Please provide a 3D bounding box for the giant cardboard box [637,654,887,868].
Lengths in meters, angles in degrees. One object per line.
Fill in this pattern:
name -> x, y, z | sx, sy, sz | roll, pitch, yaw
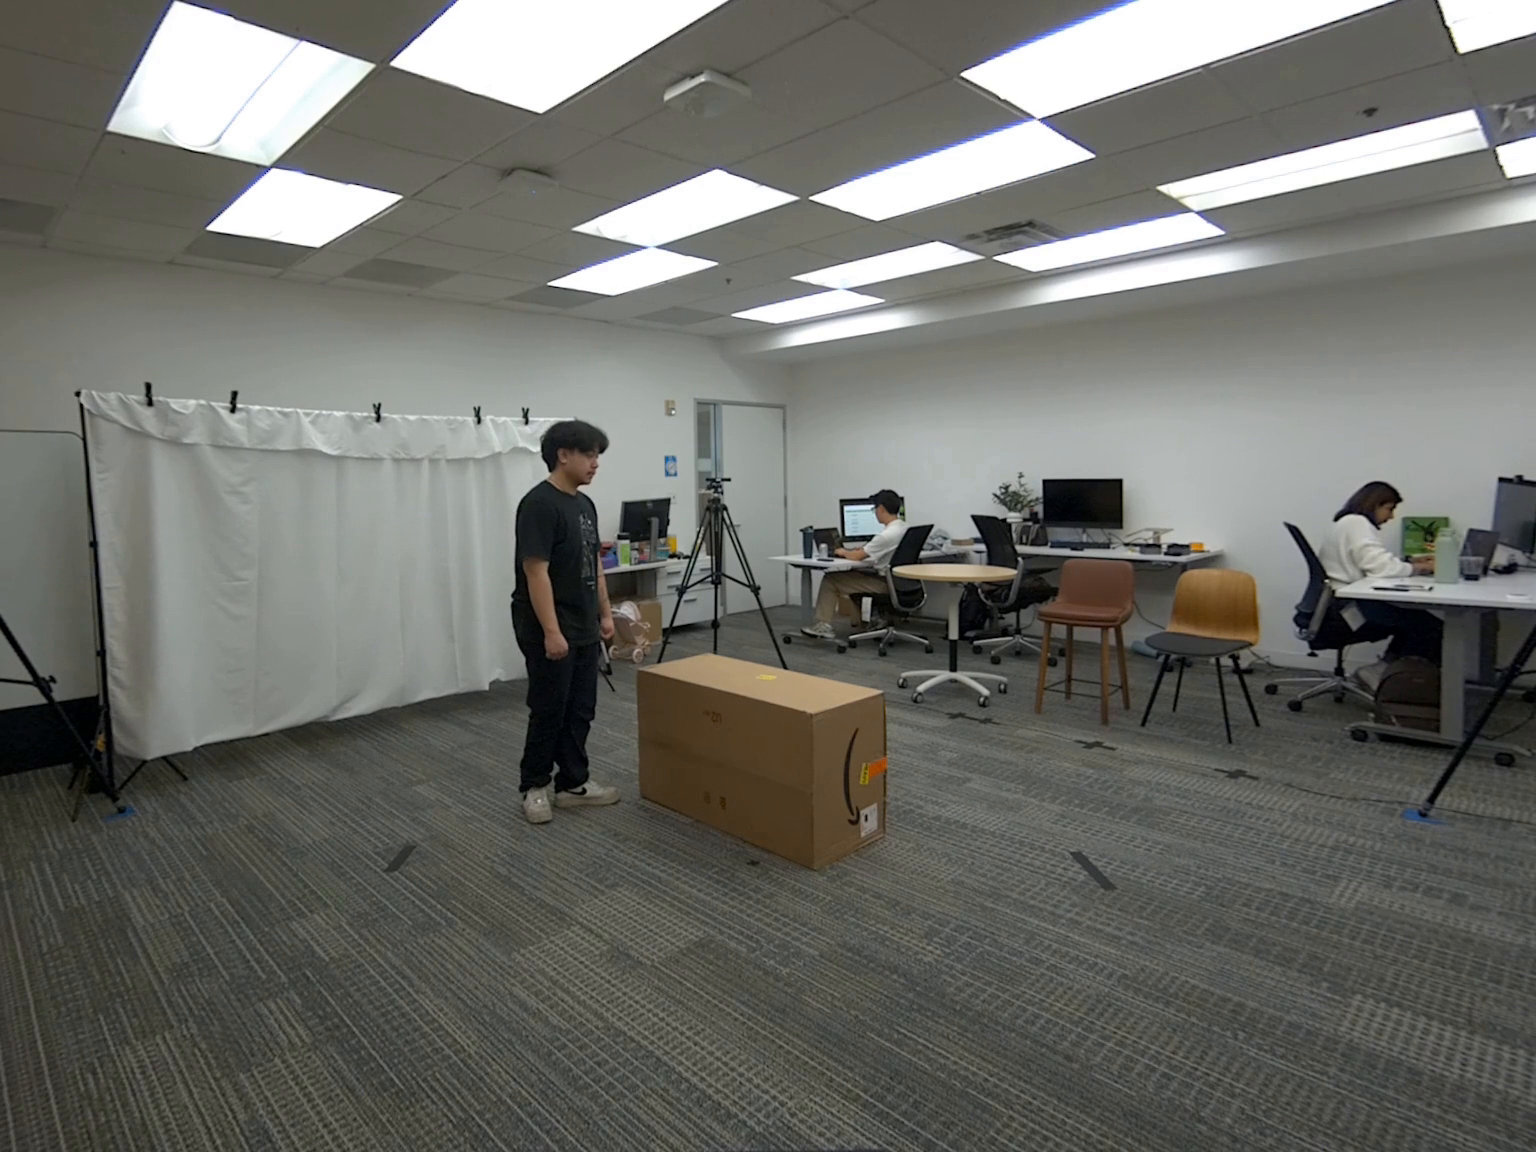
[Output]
giant cardboard box -> -0.054, 0.710, 3.525 | 0.435, 0.582, 1.059 | -4, 7, -44
